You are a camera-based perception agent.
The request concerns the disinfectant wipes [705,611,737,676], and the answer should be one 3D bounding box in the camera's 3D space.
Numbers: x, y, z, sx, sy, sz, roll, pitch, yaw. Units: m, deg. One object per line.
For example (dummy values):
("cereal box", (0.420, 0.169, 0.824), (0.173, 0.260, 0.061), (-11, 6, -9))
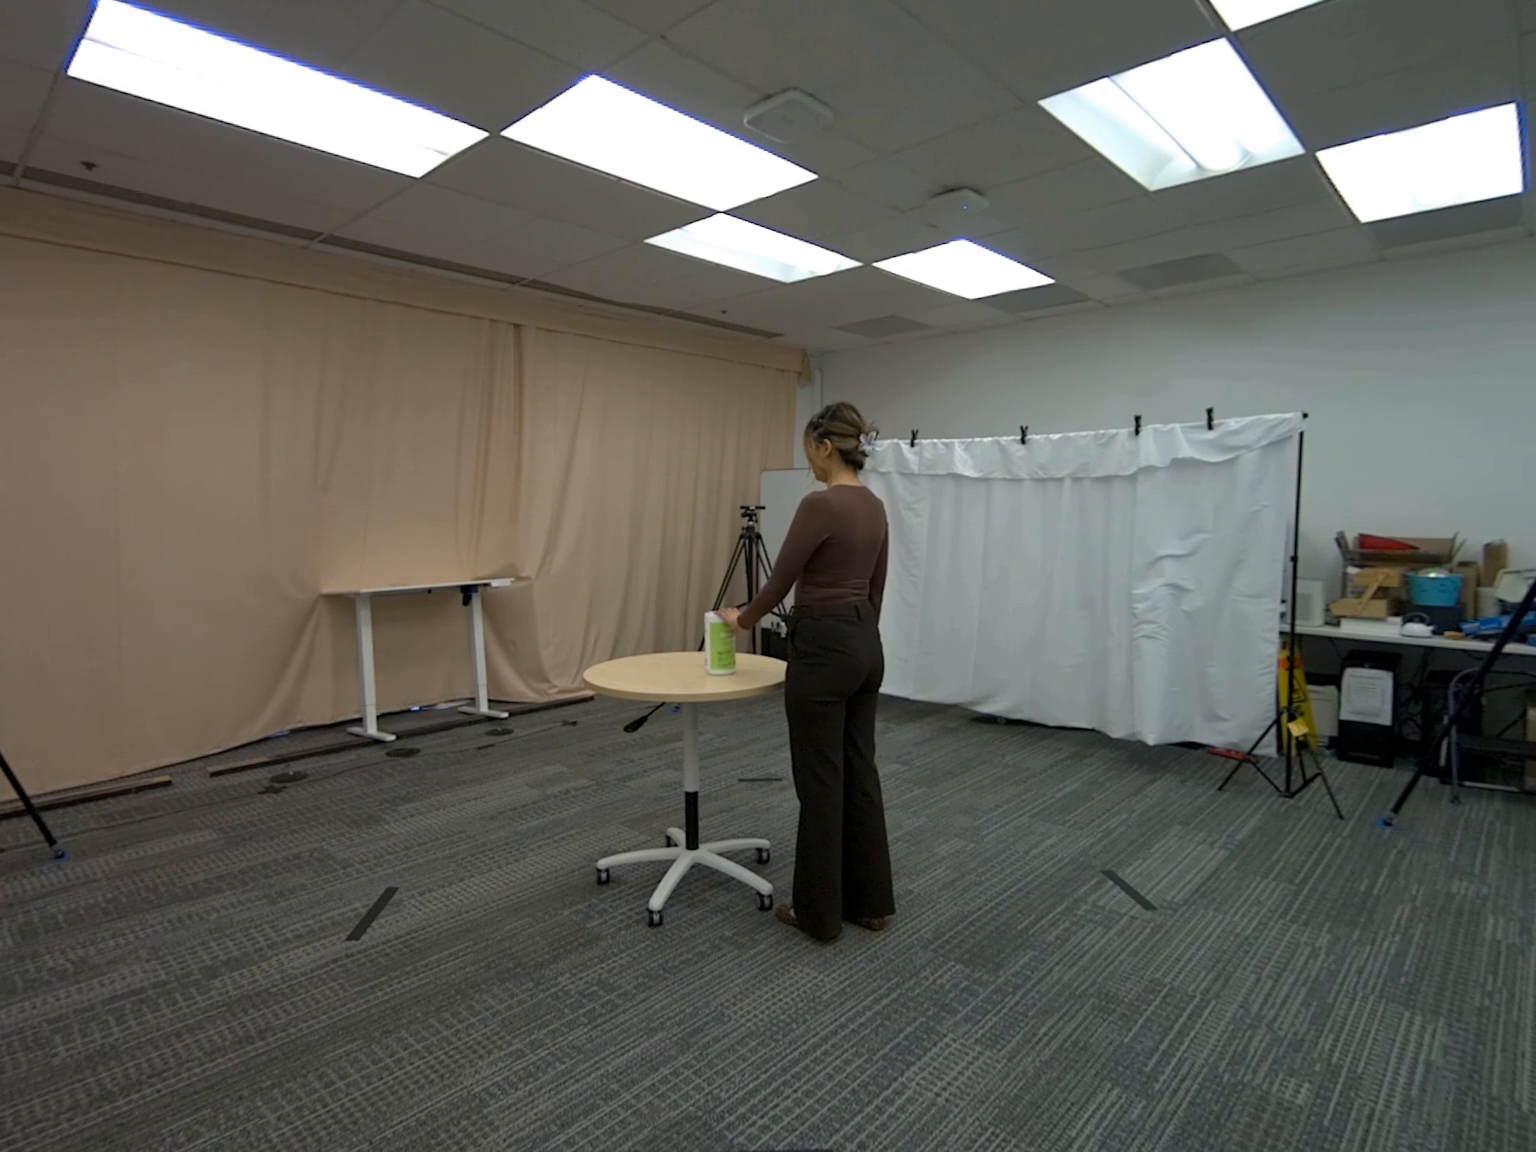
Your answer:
("disinfectant wipes", (-0.167, 0.241, 2.995), (0.118, 0.217, 0.118), (0, 4, -2))
